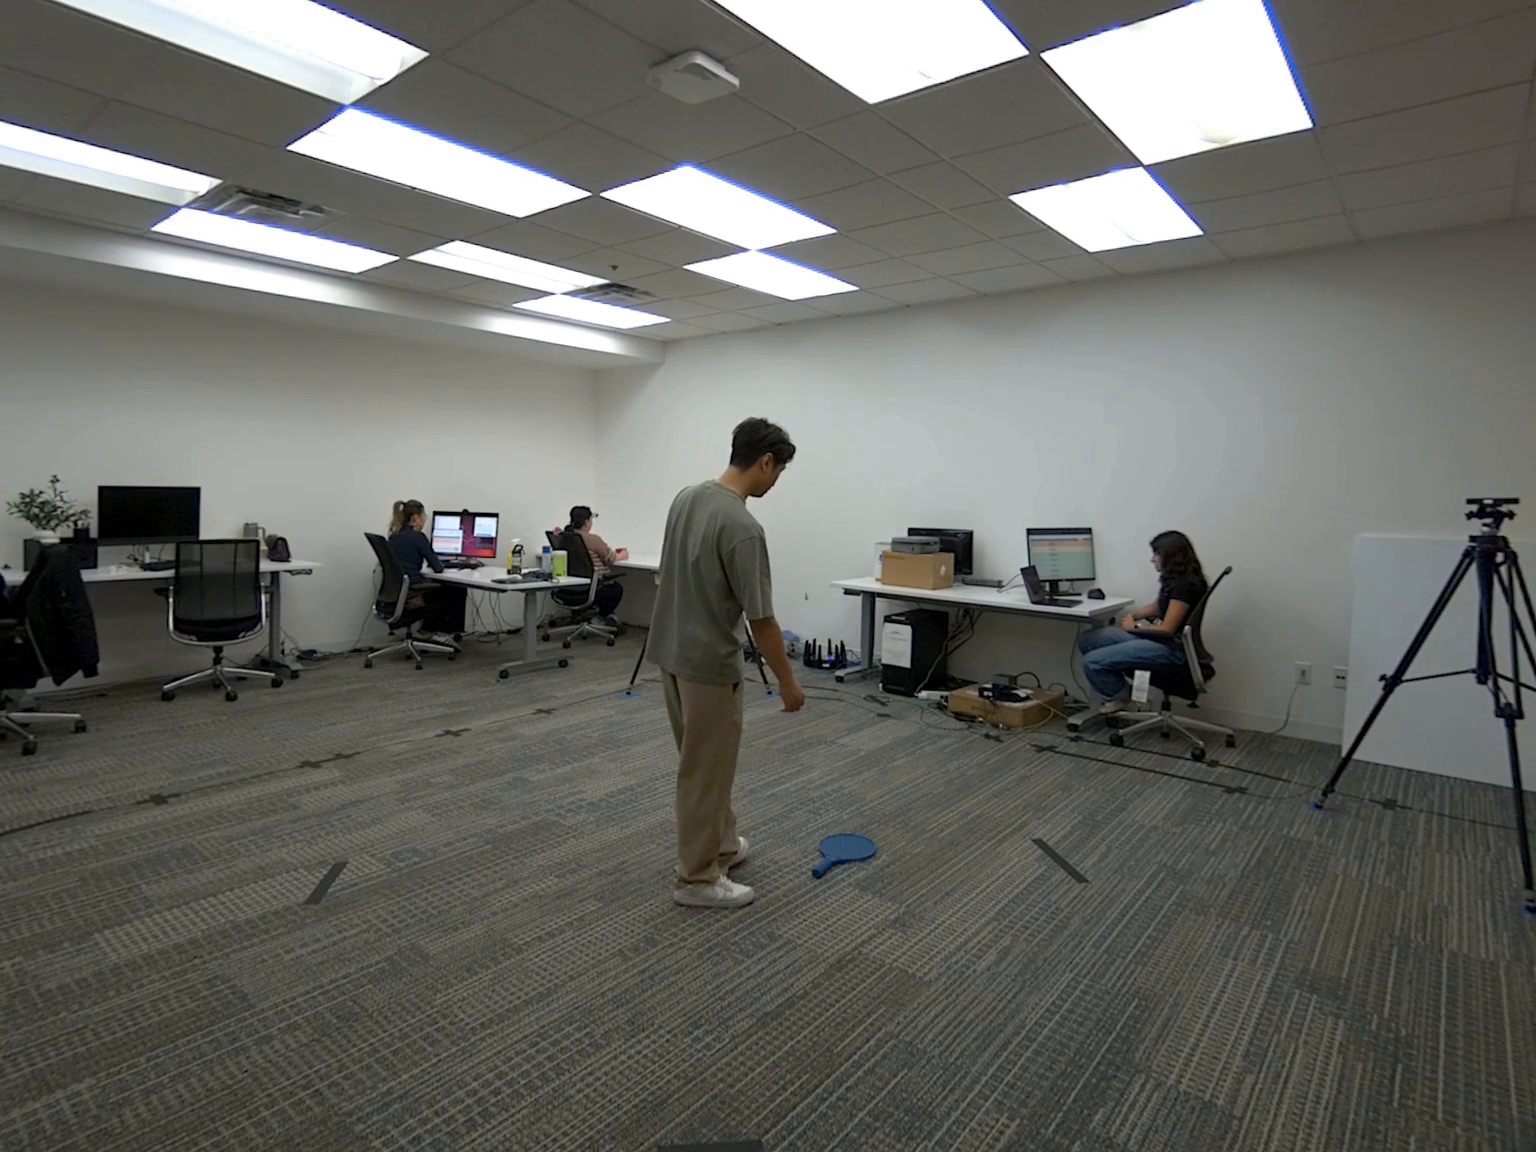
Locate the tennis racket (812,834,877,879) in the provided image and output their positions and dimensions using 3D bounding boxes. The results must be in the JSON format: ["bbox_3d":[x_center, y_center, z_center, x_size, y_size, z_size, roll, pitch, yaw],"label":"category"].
[{"bbox_3d":[0.260,1.048,3.233,0.220,0.031,0.422,4,5,28],"label":"tennis racket"}]
